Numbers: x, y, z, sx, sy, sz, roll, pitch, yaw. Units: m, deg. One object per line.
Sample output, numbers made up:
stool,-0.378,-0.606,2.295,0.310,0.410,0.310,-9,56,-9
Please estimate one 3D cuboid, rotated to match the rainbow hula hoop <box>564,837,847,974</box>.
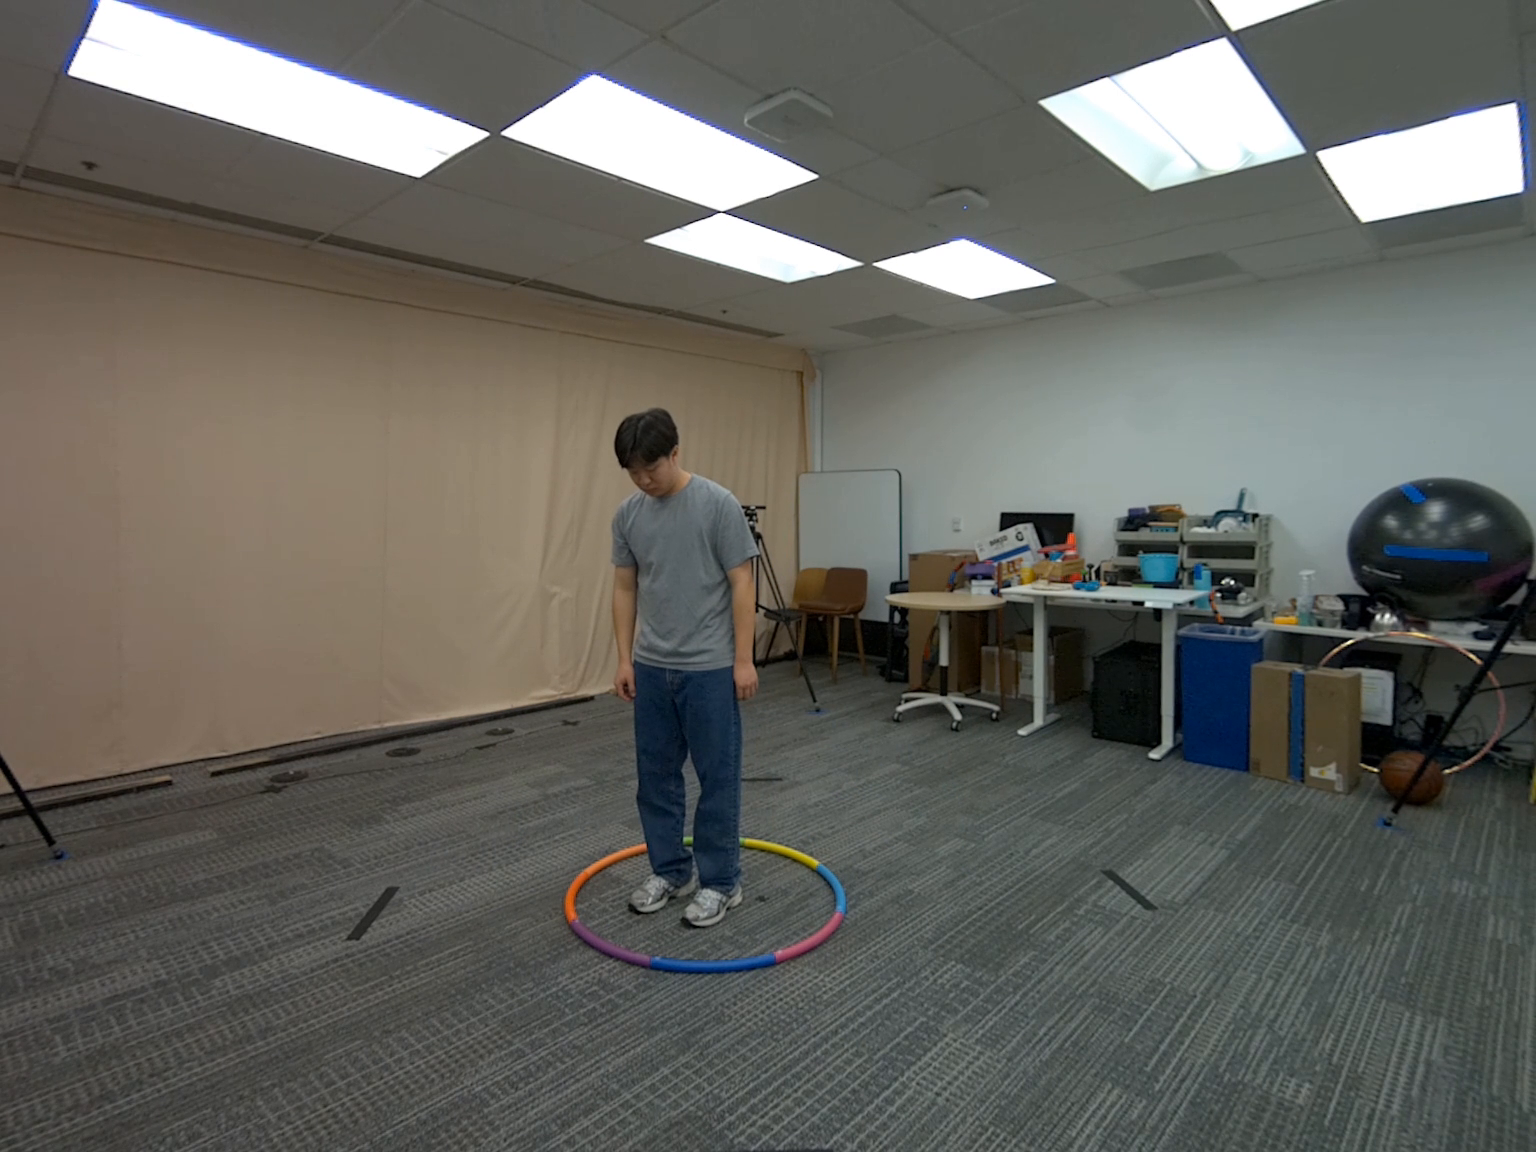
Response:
rainbow hula hoop,-0.220,1.115,2.990,0.978,0.035,0.982,-1,5,-2
